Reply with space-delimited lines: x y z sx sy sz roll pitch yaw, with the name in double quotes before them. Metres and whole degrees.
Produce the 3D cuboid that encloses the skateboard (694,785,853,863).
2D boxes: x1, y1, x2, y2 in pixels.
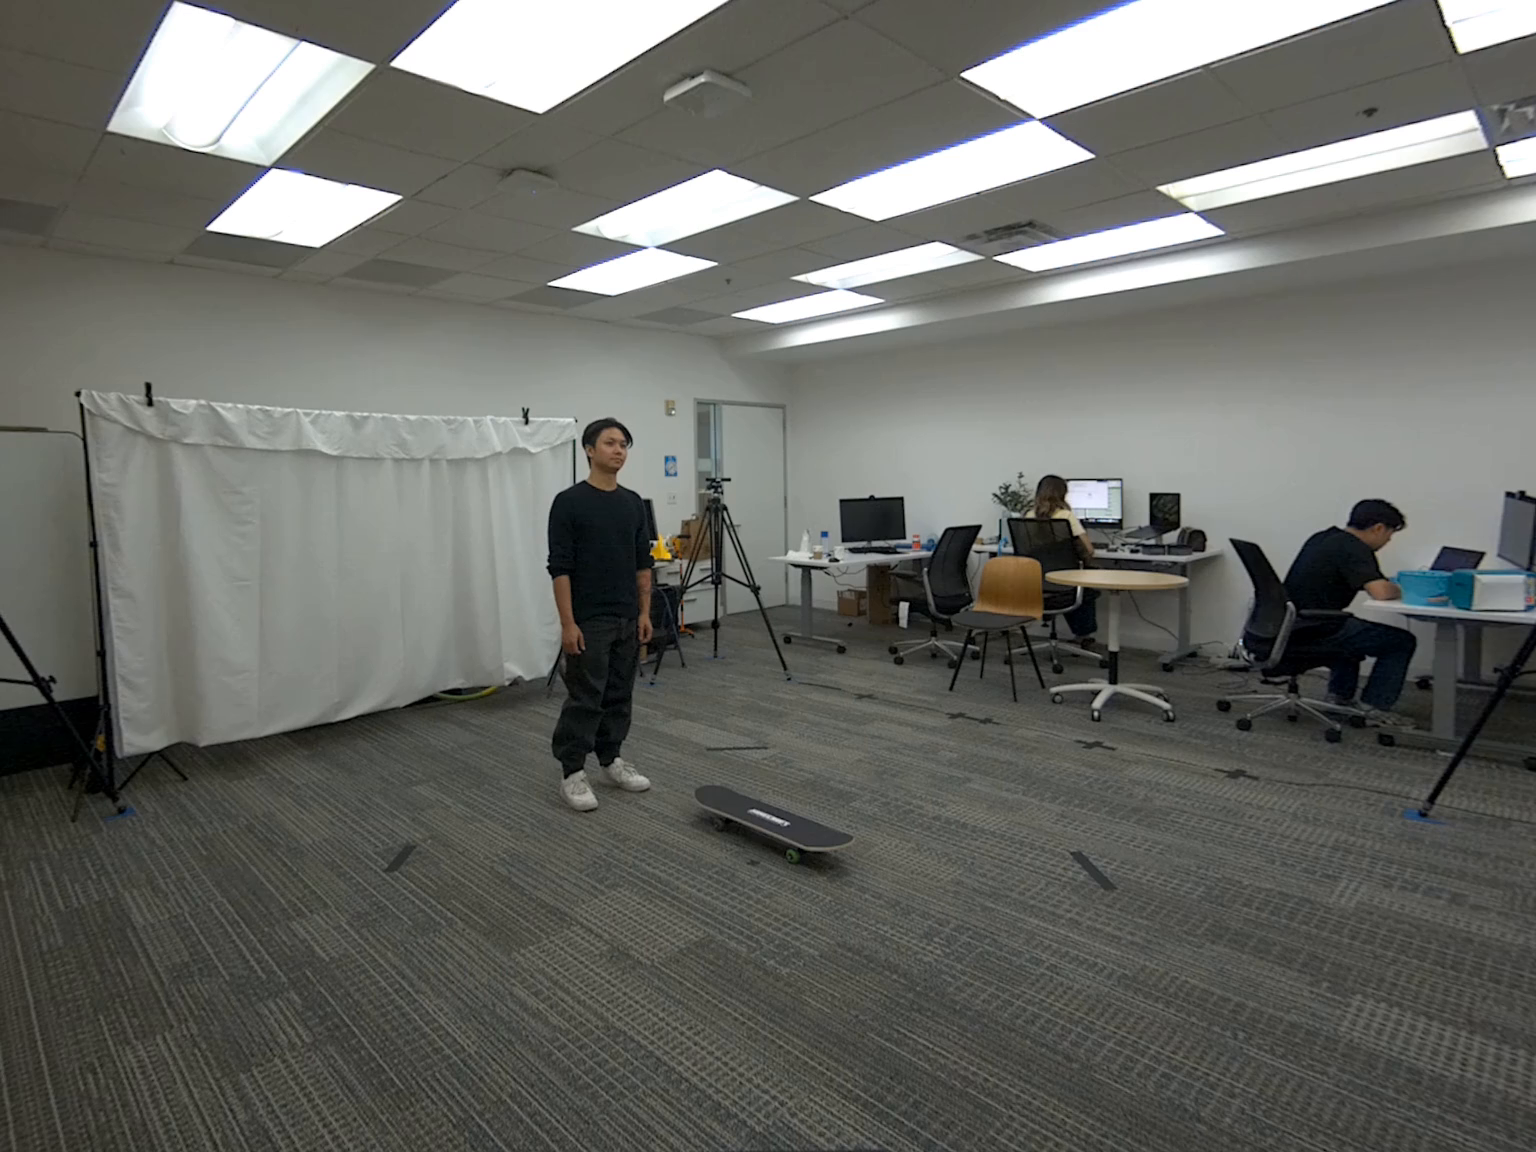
"skateboard" 0.006 0.965 3.297 0.188 0.110 0.810 -6 8 -42
